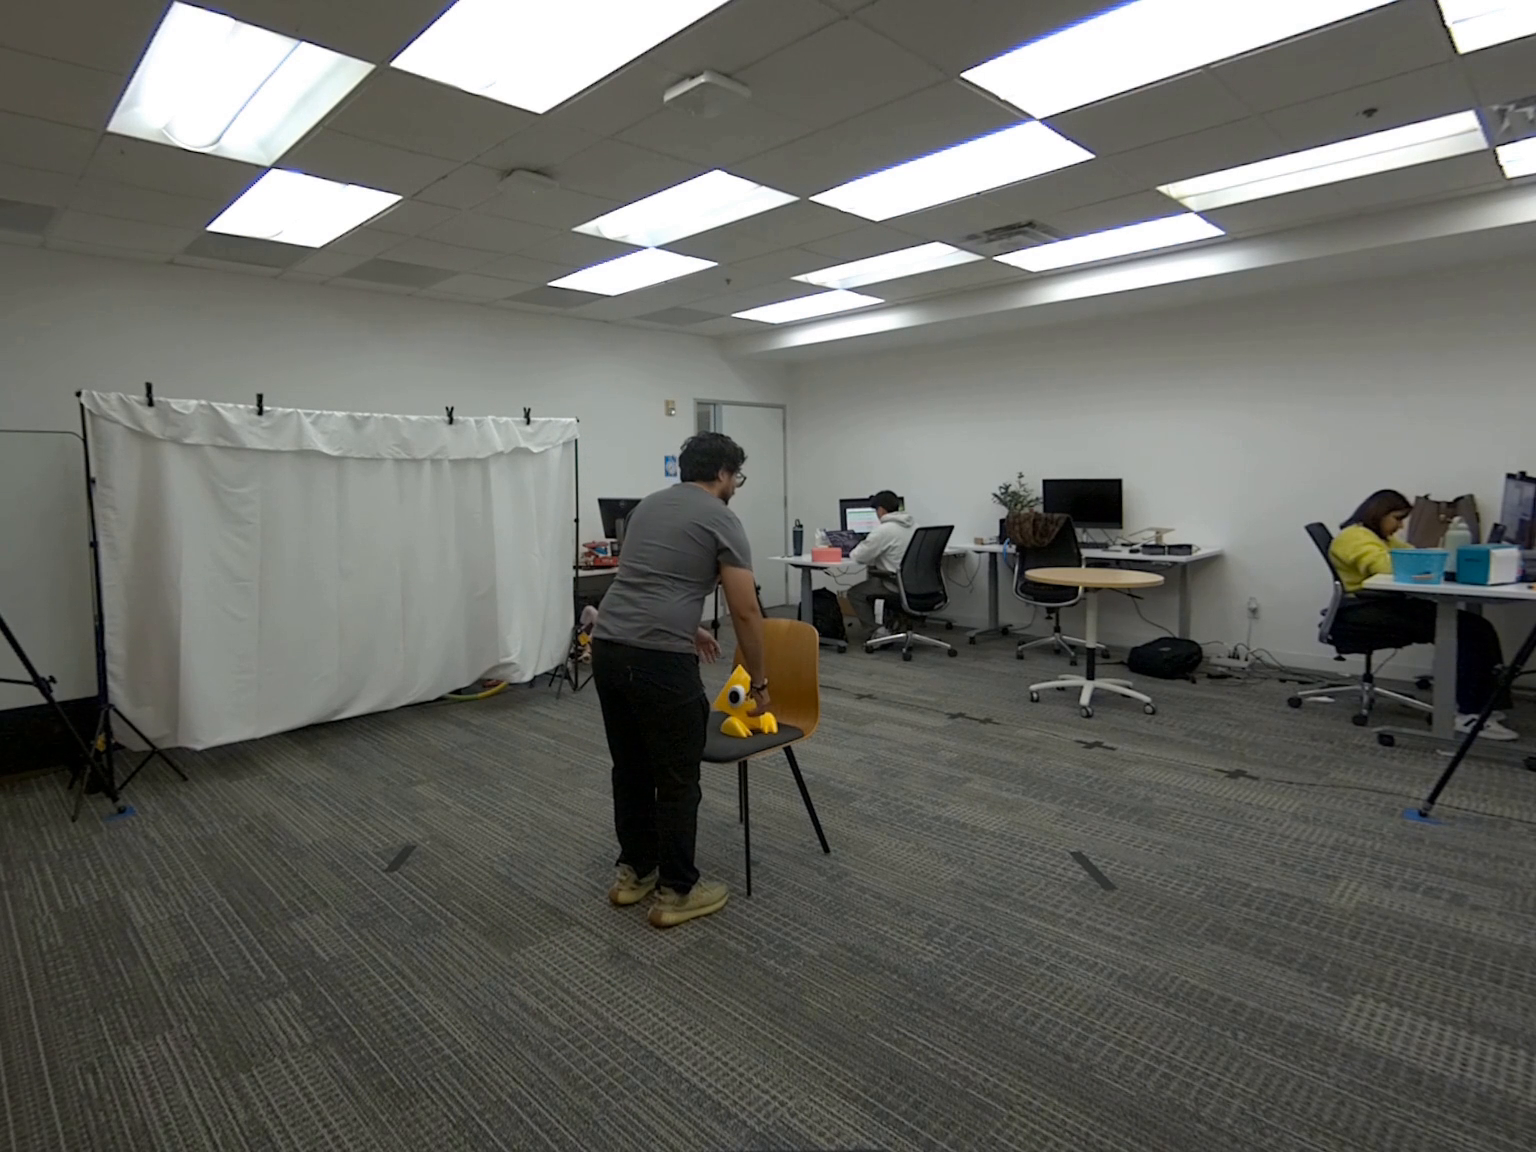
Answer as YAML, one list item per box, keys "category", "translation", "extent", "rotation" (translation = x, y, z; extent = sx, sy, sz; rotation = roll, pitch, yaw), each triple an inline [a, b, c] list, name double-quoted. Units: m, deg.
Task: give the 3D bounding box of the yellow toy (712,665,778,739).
- category: "yellow toy"
  translation: [-0.067, 0.448, 3.139]
  extent: [0.200, 0.230, 0.198]
  rotation: [0, 3, -30]
